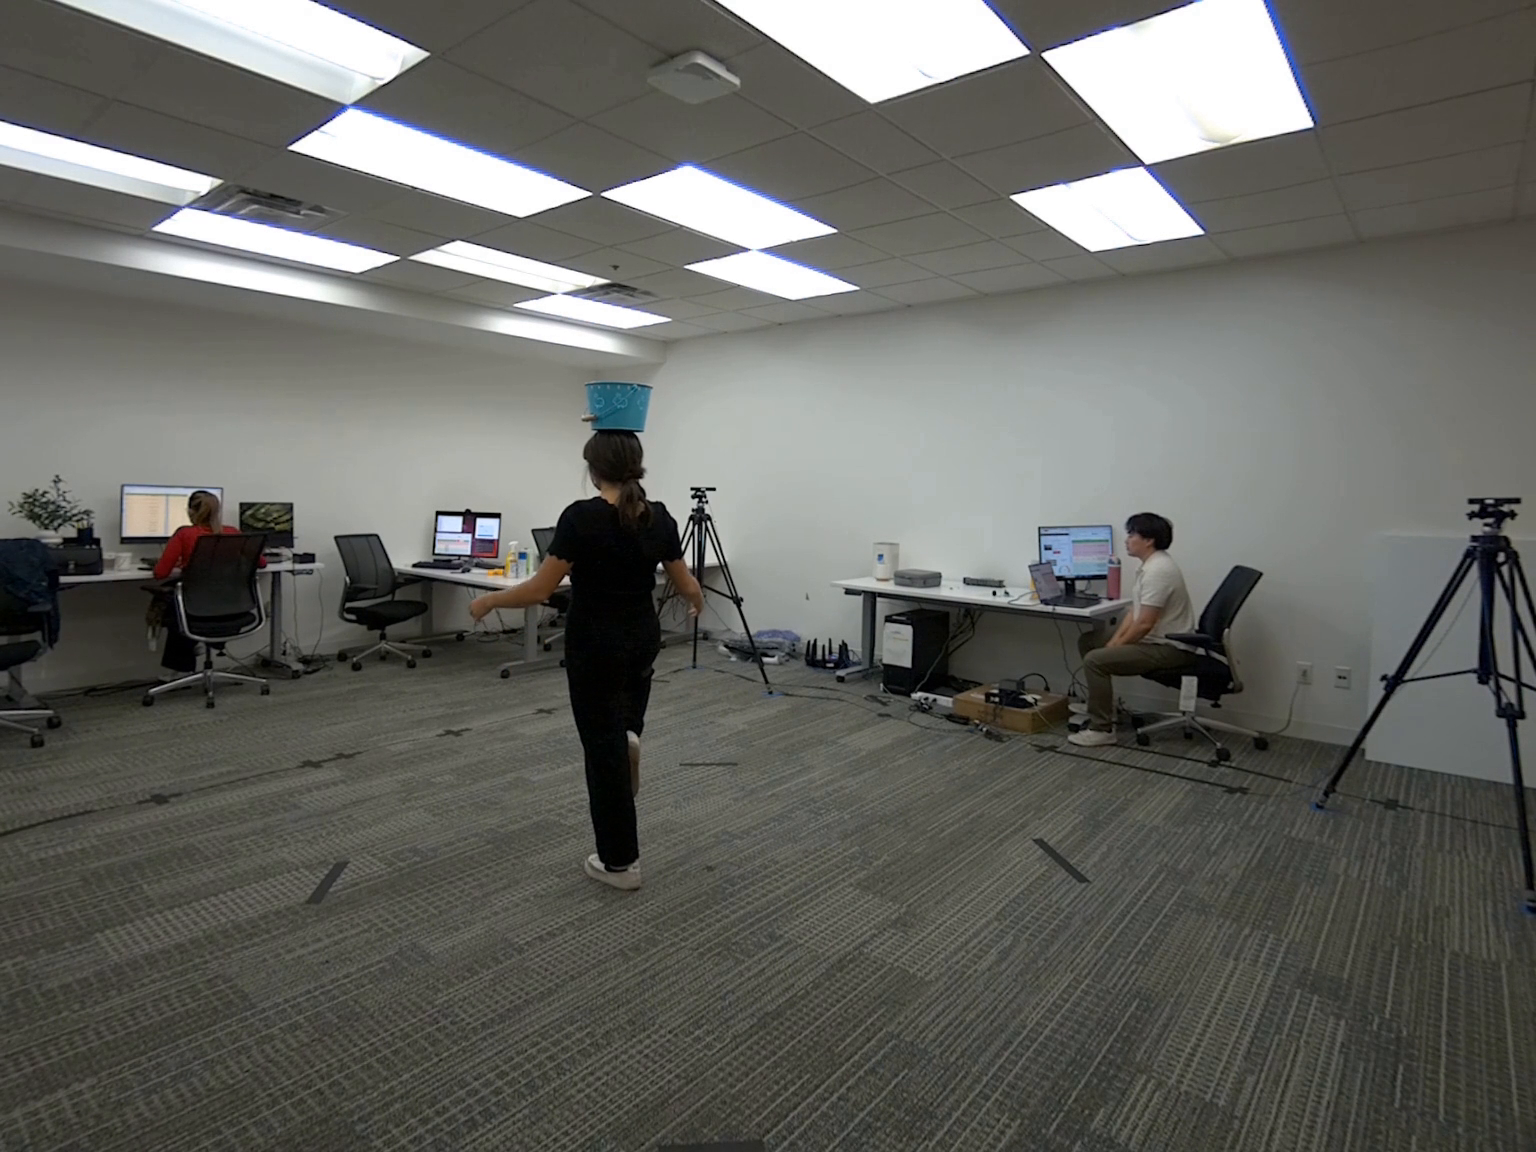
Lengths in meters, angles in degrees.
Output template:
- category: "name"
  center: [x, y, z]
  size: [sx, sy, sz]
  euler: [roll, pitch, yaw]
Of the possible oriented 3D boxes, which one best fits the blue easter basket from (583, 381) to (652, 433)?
- category: "blue easter basket"
  center: [-0.529, -0.574, 2.879]
  size: [0.243, 0.155, 0.245]
  euler: [1, 5, -2]
